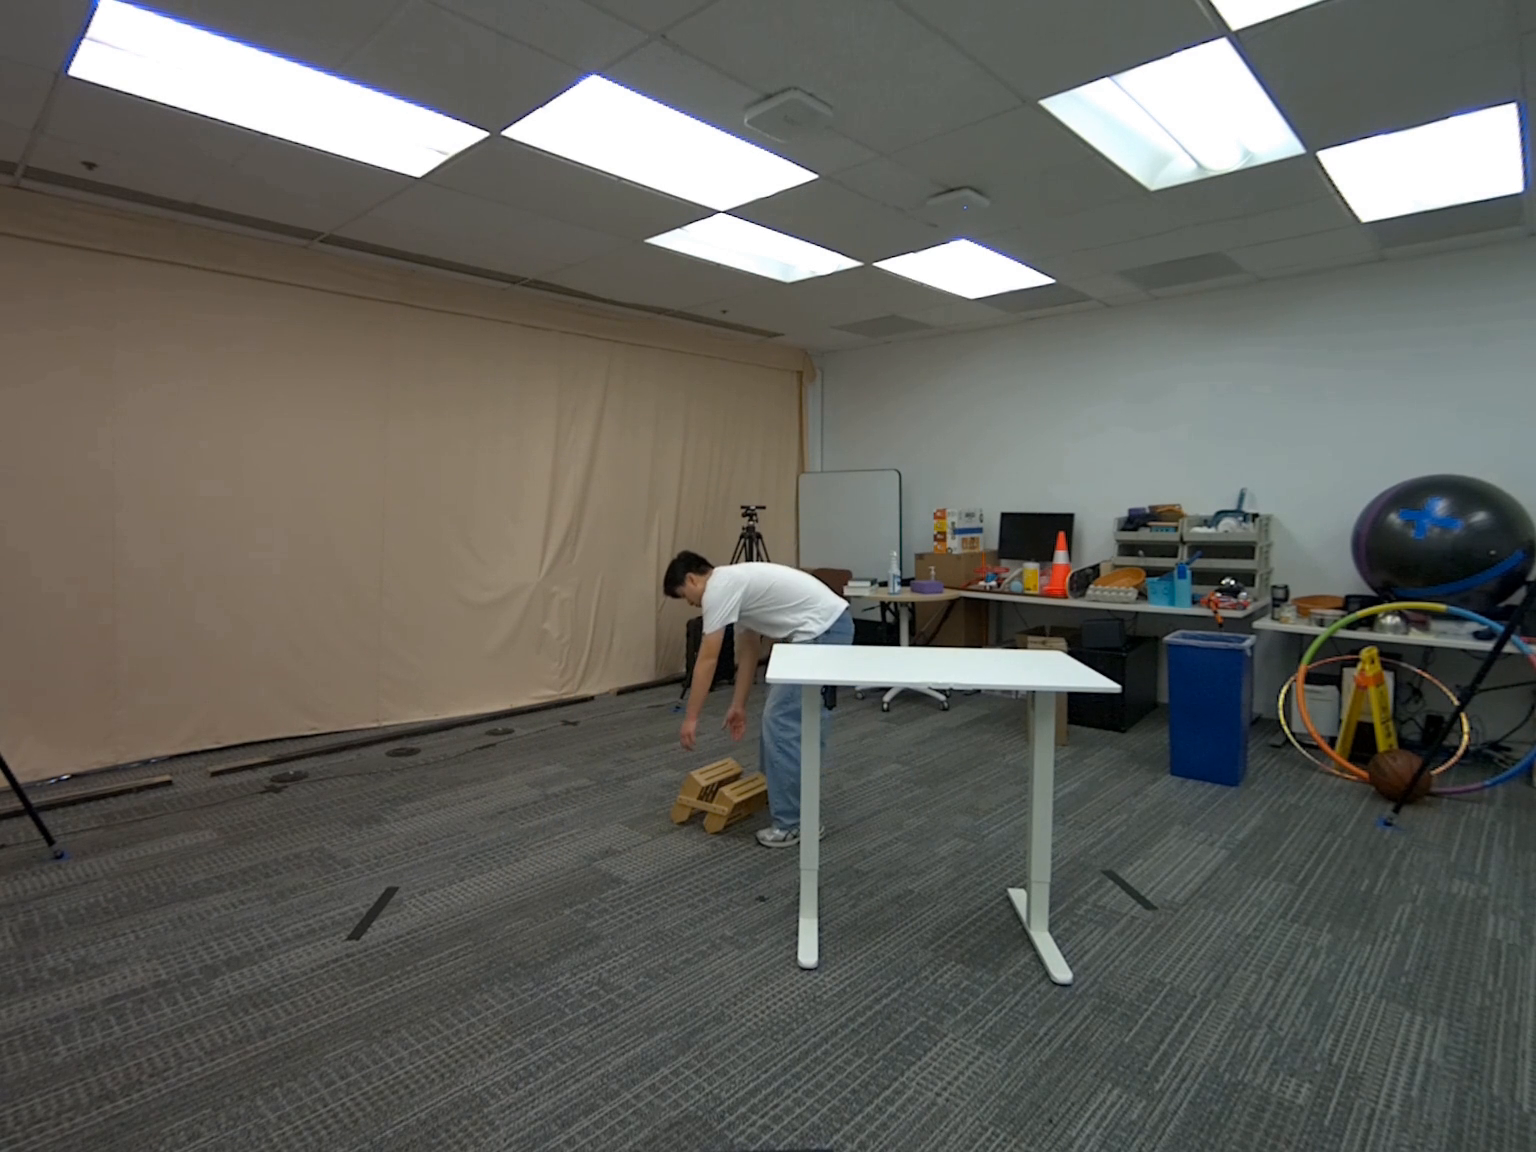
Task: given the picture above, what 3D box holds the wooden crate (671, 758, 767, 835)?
[{"bbox_3d":[-0.200,0.995,3.719,0.282,0.301,0.315,34,23,30],"label":"wooden crate"}]
